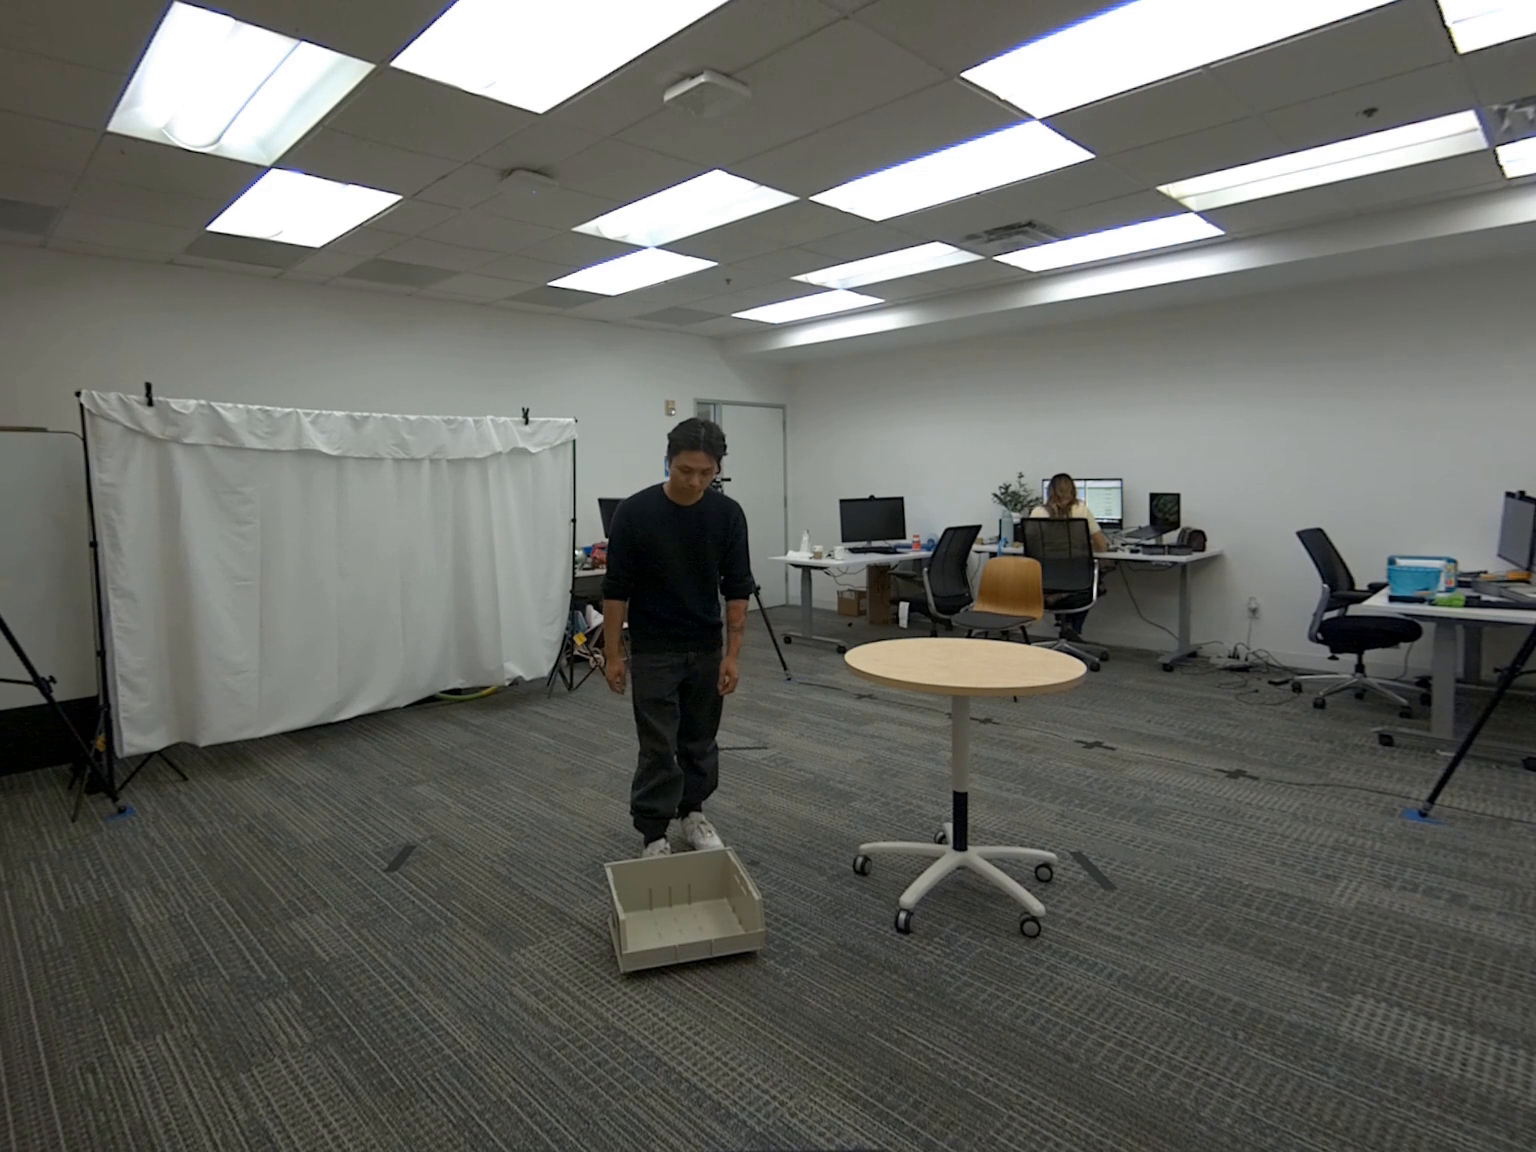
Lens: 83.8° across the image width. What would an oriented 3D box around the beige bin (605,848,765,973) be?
[{"bbox_3d":[-0.261,1.017,2.599,0.416,0.188,0.384,-3,6,-16],"label":"beige bin"}]
